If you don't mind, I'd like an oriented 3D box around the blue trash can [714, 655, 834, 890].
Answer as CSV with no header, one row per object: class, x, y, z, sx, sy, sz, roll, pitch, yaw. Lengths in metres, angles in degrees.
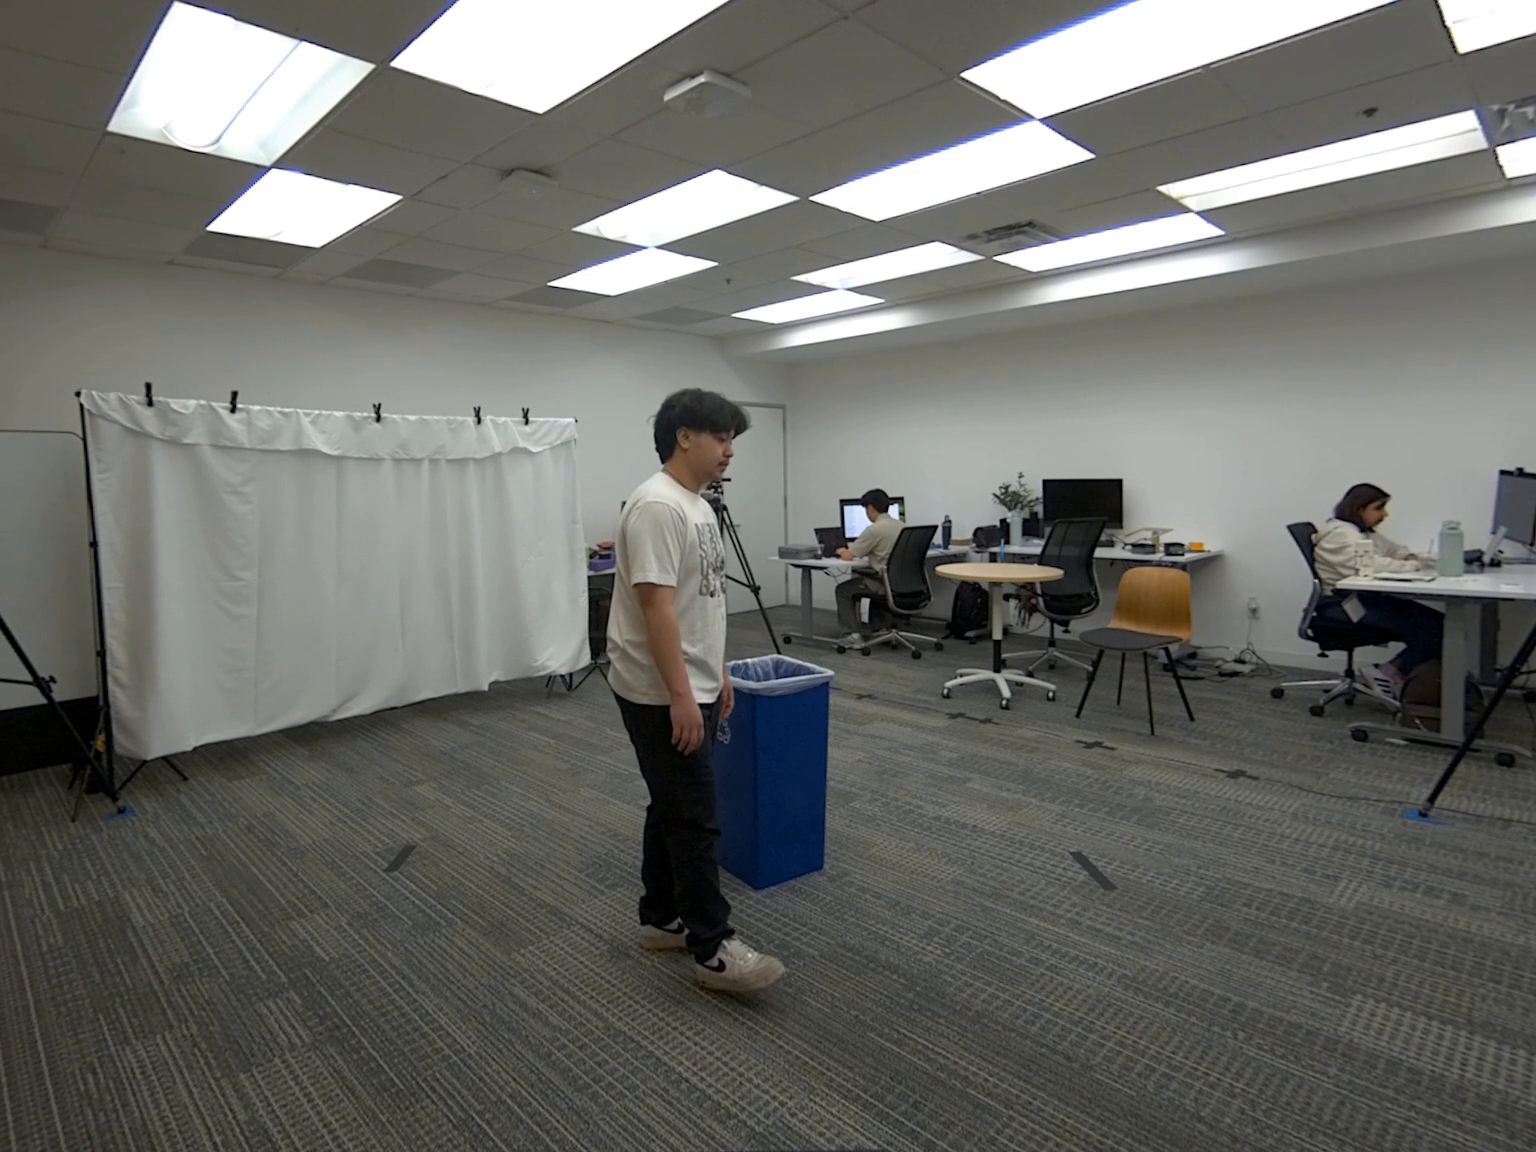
blue trash can,0.002,0.687,3.070,0.368,0.711,0.385,-4,5,-35
